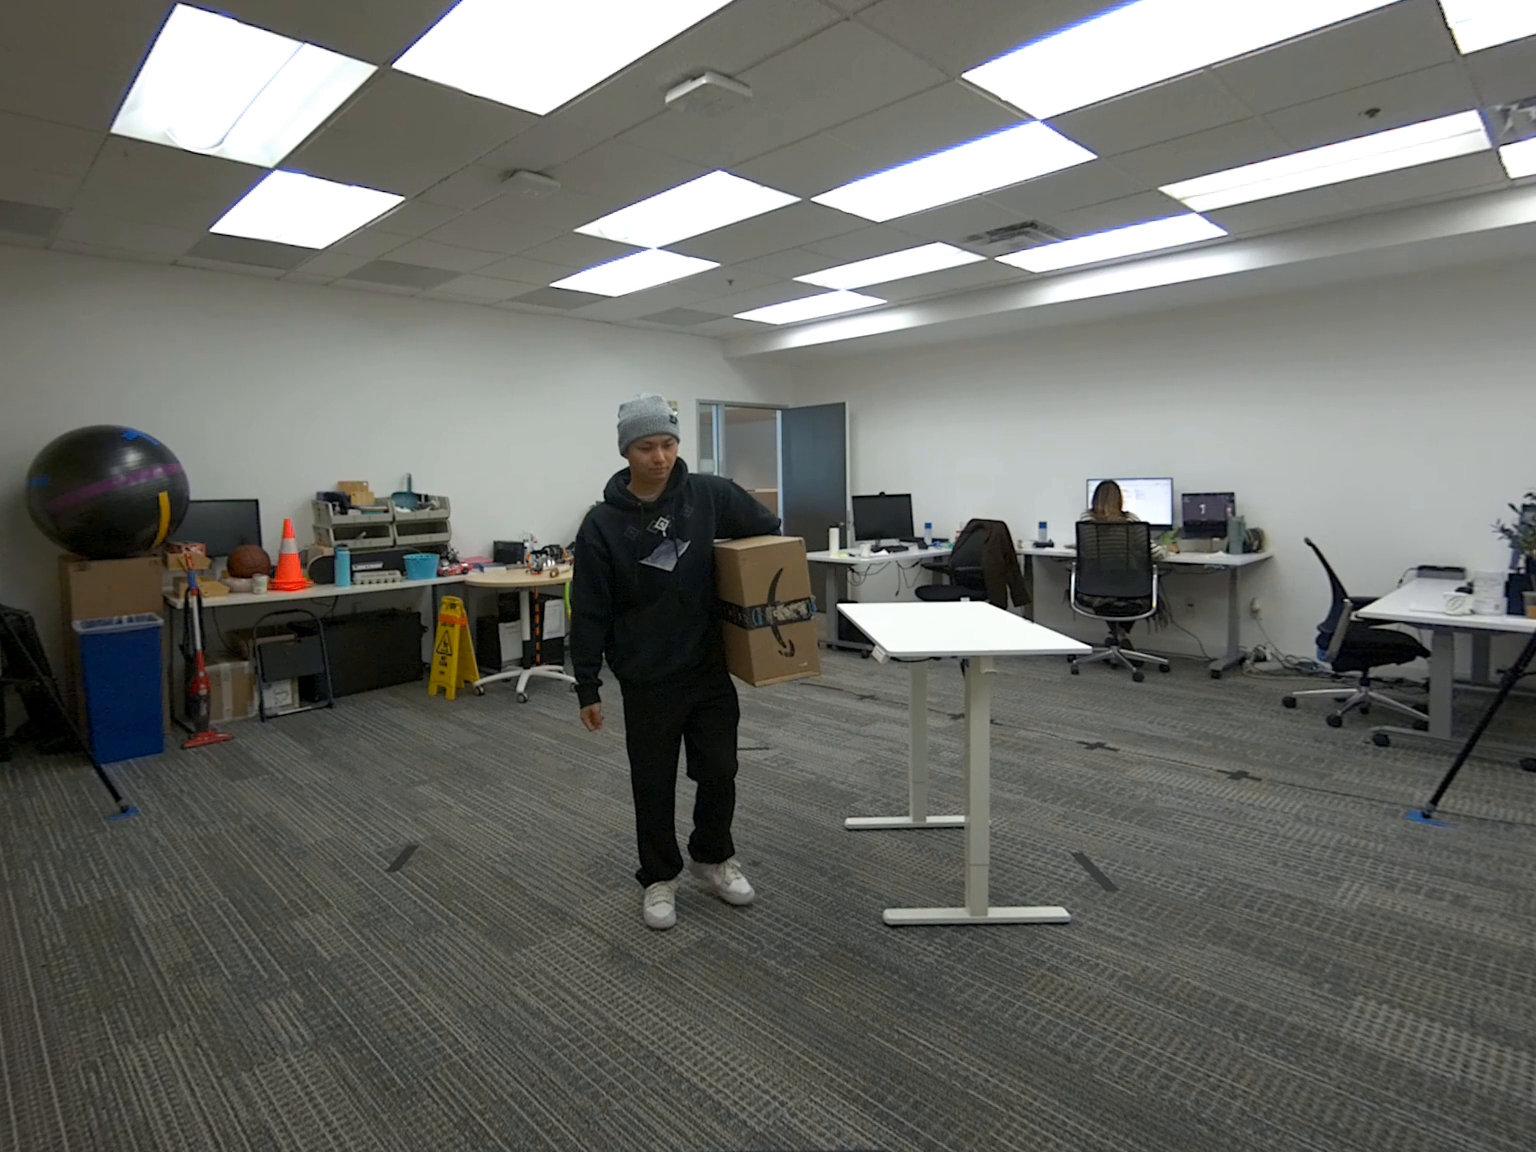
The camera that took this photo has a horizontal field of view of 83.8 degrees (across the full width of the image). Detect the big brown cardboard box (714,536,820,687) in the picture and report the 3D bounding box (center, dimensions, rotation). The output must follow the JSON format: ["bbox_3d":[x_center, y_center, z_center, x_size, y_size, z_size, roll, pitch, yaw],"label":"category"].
[{"bbox_3d":[-0.057,0.089,2.785,0.230,0.416,0.600,-7,6,-19],"label":"big brown cardboard box"}]
